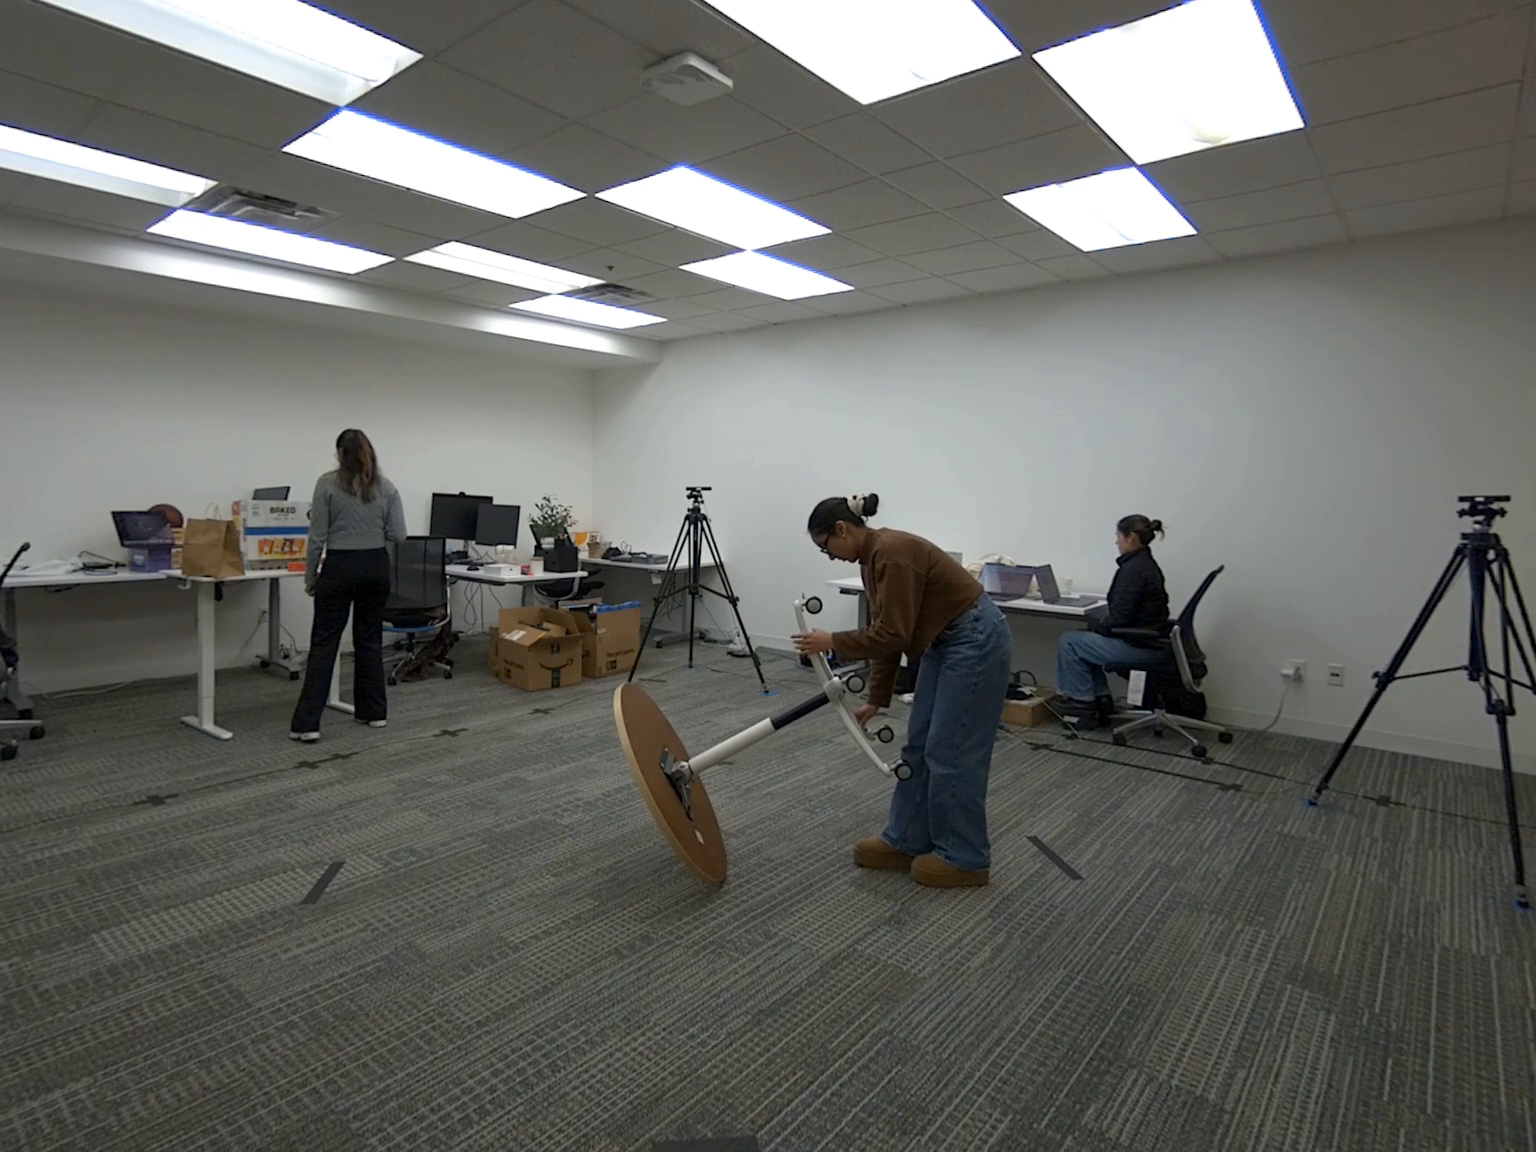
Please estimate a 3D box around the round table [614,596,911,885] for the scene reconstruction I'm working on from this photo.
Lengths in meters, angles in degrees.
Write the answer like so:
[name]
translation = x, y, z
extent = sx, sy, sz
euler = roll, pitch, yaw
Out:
[round table]
translation = -0.024, 0.546, 3.048
extent = 0.795, 0.762, 0.766
euler = -29, 3, 2
